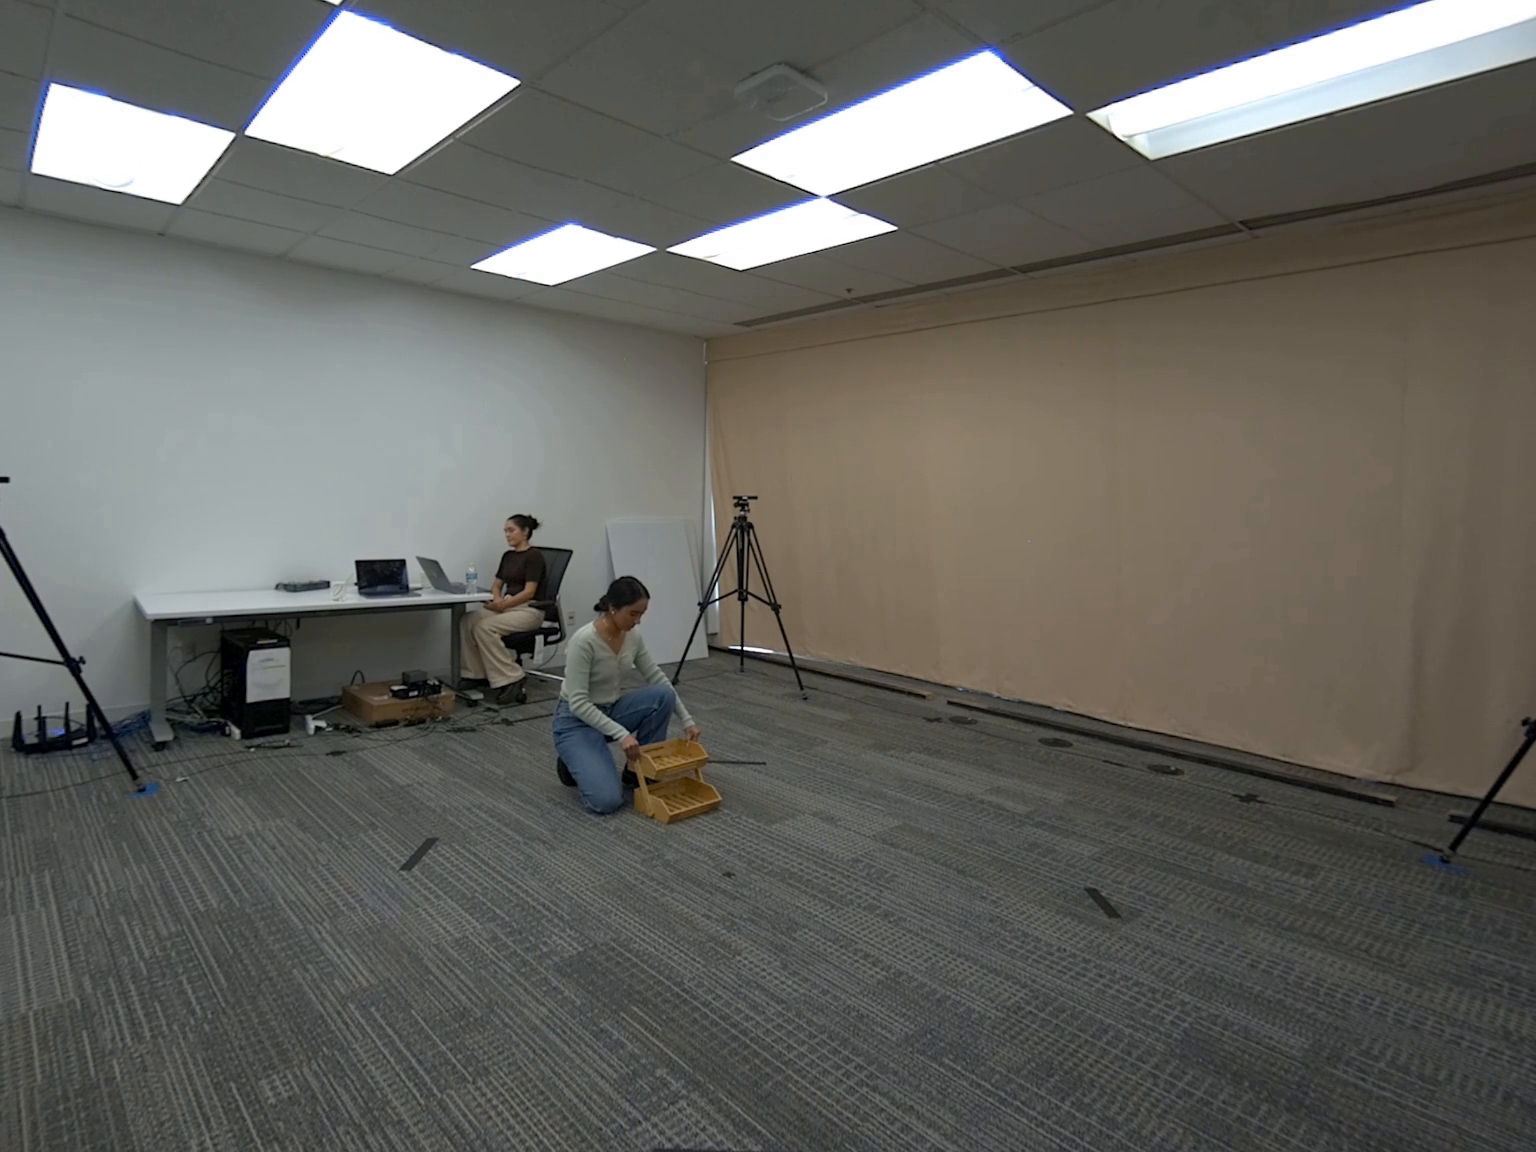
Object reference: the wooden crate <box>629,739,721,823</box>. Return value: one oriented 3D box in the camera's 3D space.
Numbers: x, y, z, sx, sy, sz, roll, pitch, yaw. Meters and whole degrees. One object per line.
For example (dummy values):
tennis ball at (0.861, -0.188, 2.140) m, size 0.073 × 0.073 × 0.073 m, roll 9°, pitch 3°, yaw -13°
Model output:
wooden crate at (-0.419, 0.901, 3.761) m, size 0.309 × 0.273 × 0.317 m, roll 4°, pitch 4°, yaw 45°
